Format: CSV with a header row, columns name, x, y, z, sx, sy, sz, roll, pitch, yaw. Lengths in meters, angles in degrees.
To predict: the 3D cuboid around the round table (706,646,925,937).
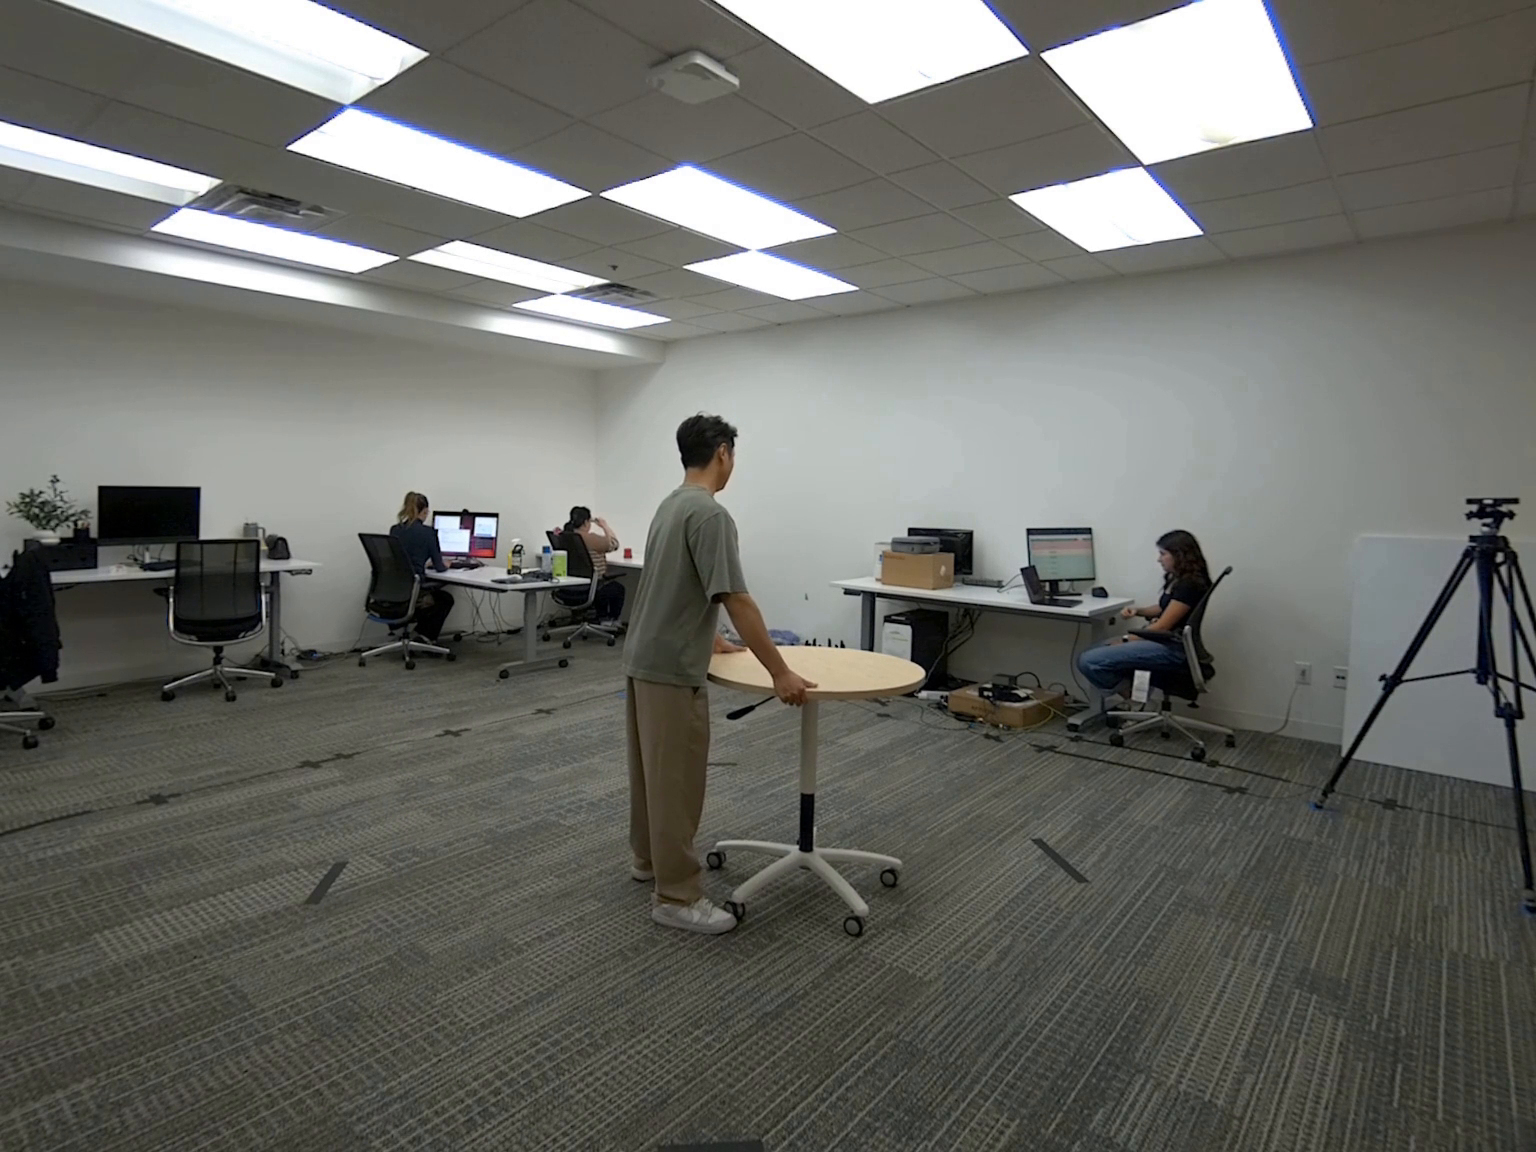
name,x,y,z,sx,sy,sz,roll,pitch,yaw
round table,0.136,0.699,2.954,0.784,0.784,0.789,1,4,-2
